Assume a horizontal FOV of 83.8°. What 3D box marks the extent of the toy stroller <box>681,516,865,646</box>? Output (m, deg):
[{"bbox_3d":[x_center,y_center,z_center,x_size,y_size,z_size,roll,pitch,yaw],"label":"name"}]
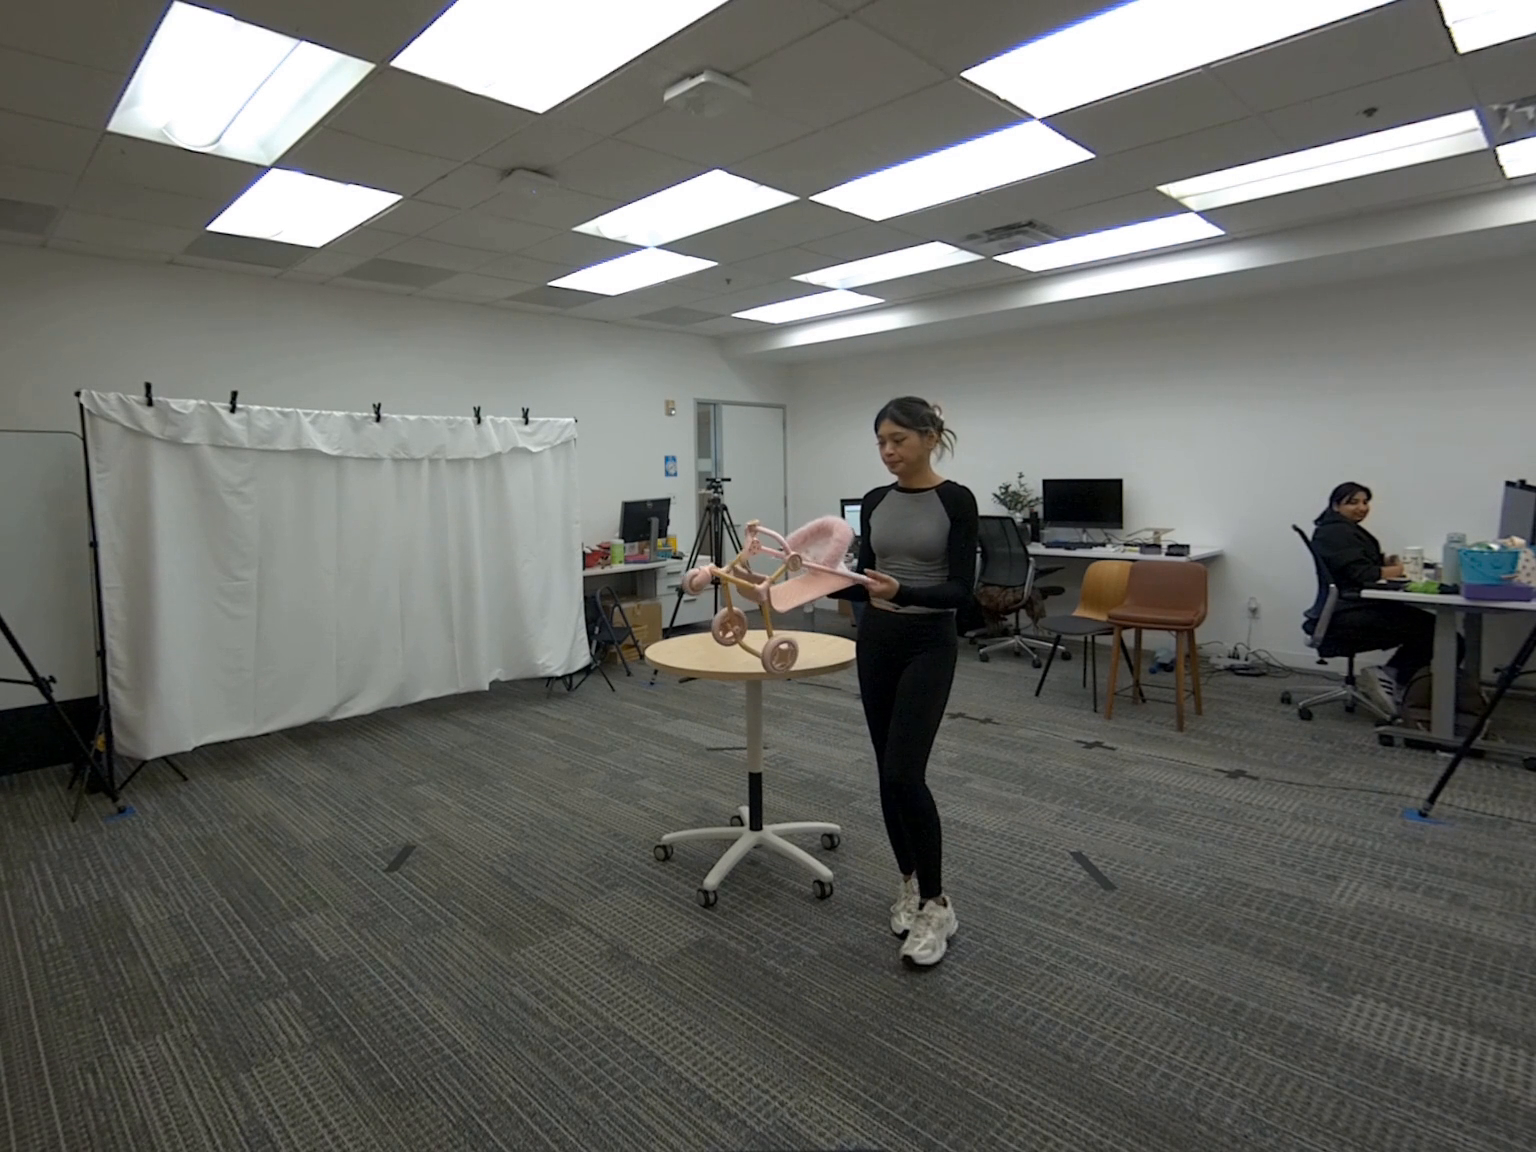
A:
[{"bbox_3d":[0.042,0.012,2.274,0.532,0.333,0.290,-34,22,-21],"label":"toy stroller"}]
